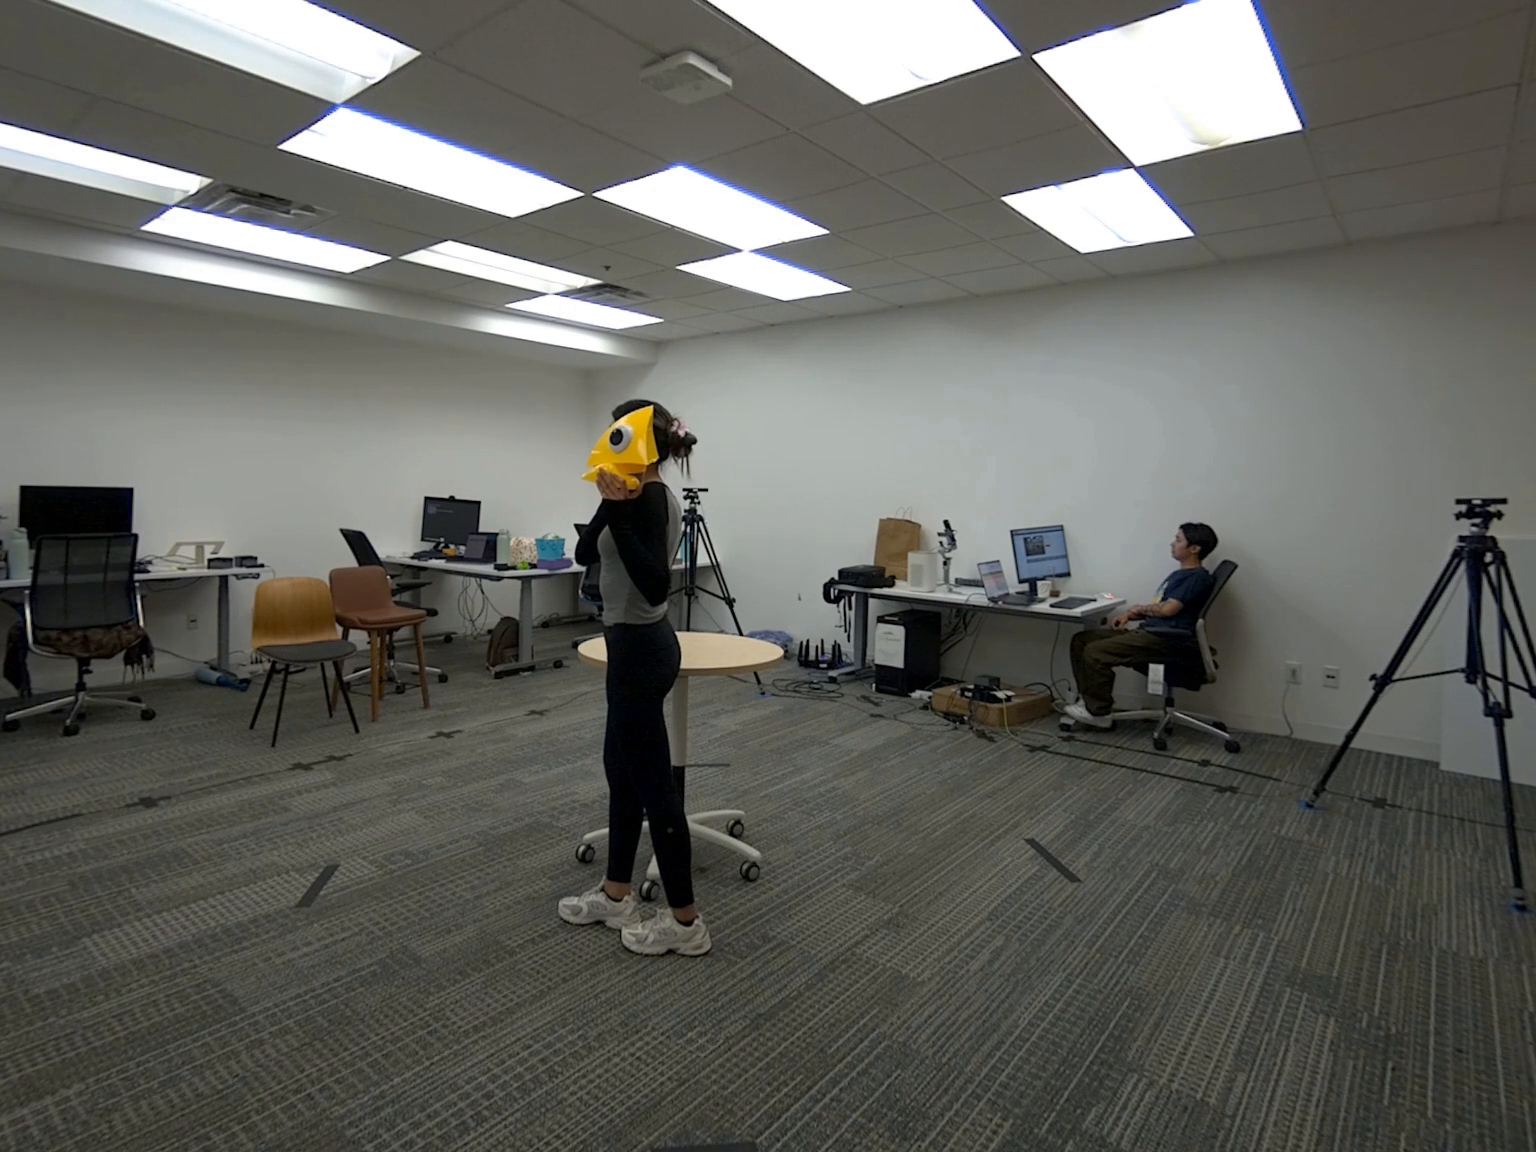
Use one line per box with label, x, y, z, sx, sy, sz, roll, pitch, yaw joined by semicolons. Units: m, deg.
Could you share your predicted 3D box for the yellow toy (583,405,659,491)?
yellow toy;-0.417;-0.381;2.388;0.193;0.229;0.206;13;12;0
